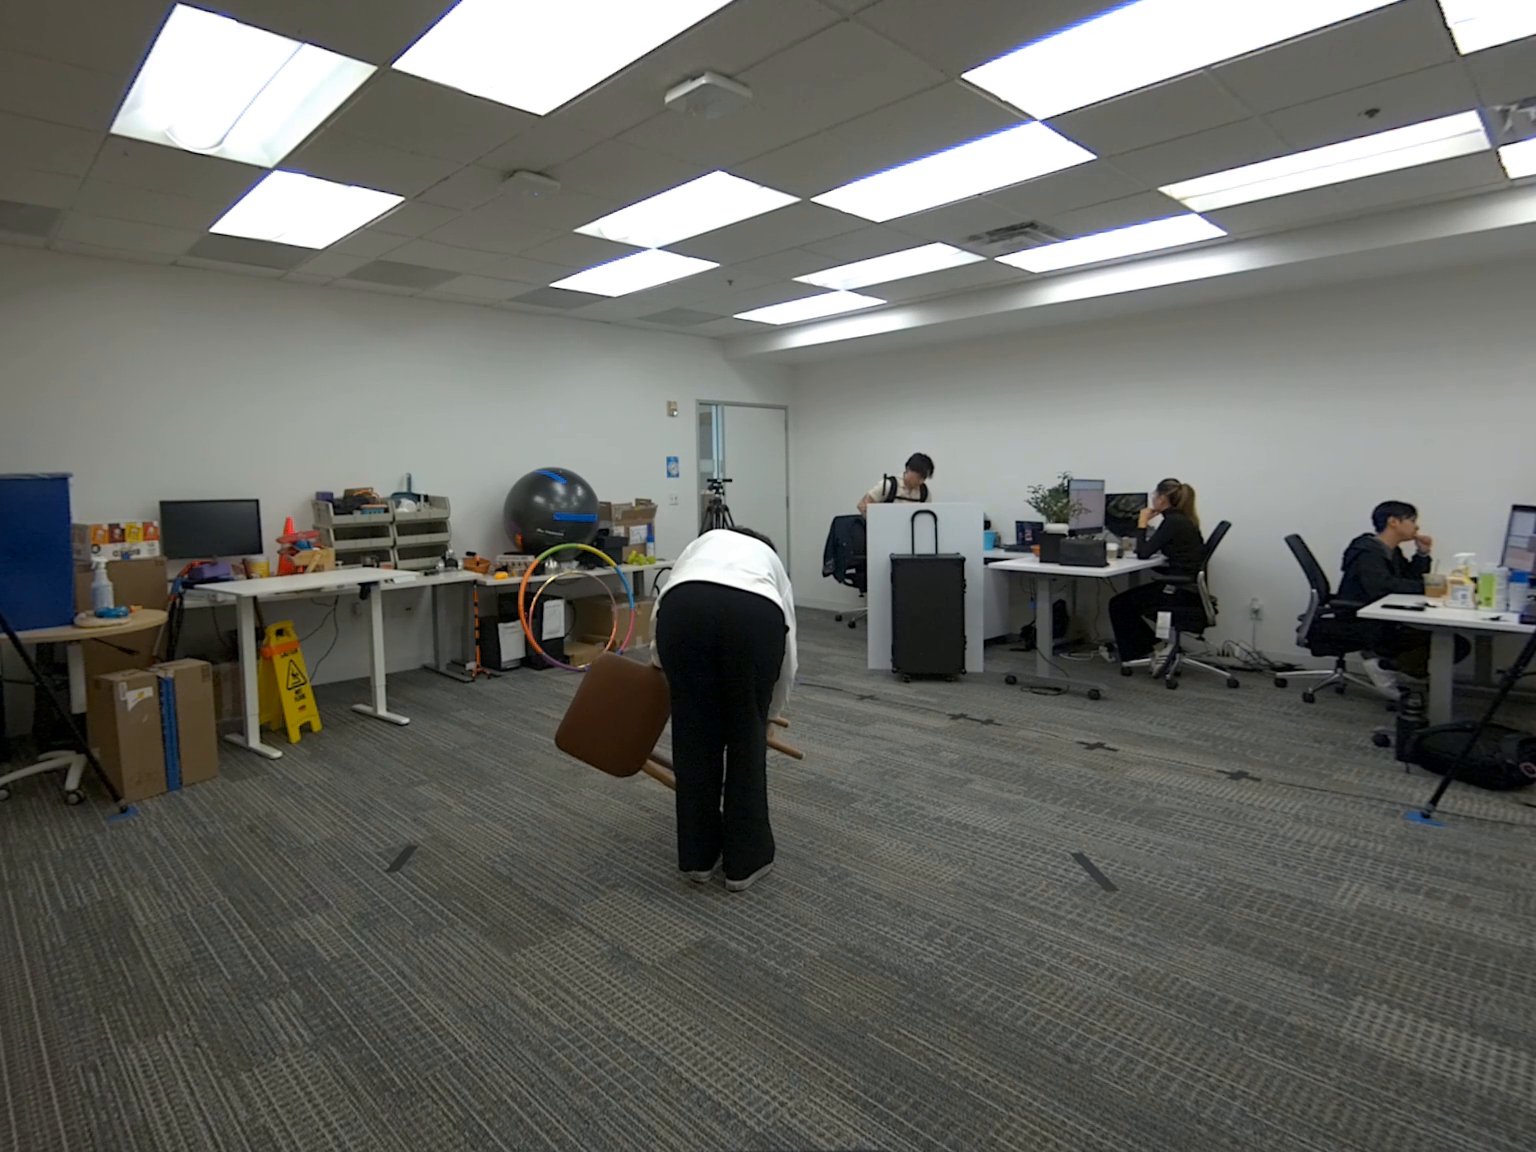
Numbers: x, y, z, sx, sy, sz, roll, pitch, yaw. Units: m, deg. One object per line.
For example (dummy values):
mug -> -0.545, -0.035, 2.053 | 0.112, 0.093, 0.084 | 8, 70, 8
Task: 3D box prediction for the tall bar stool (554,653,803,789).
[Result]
tall bar stool -> -0.352, 0.623, 3.401 | 0.881, 0.456, 0.472 | 26, 1, -8
